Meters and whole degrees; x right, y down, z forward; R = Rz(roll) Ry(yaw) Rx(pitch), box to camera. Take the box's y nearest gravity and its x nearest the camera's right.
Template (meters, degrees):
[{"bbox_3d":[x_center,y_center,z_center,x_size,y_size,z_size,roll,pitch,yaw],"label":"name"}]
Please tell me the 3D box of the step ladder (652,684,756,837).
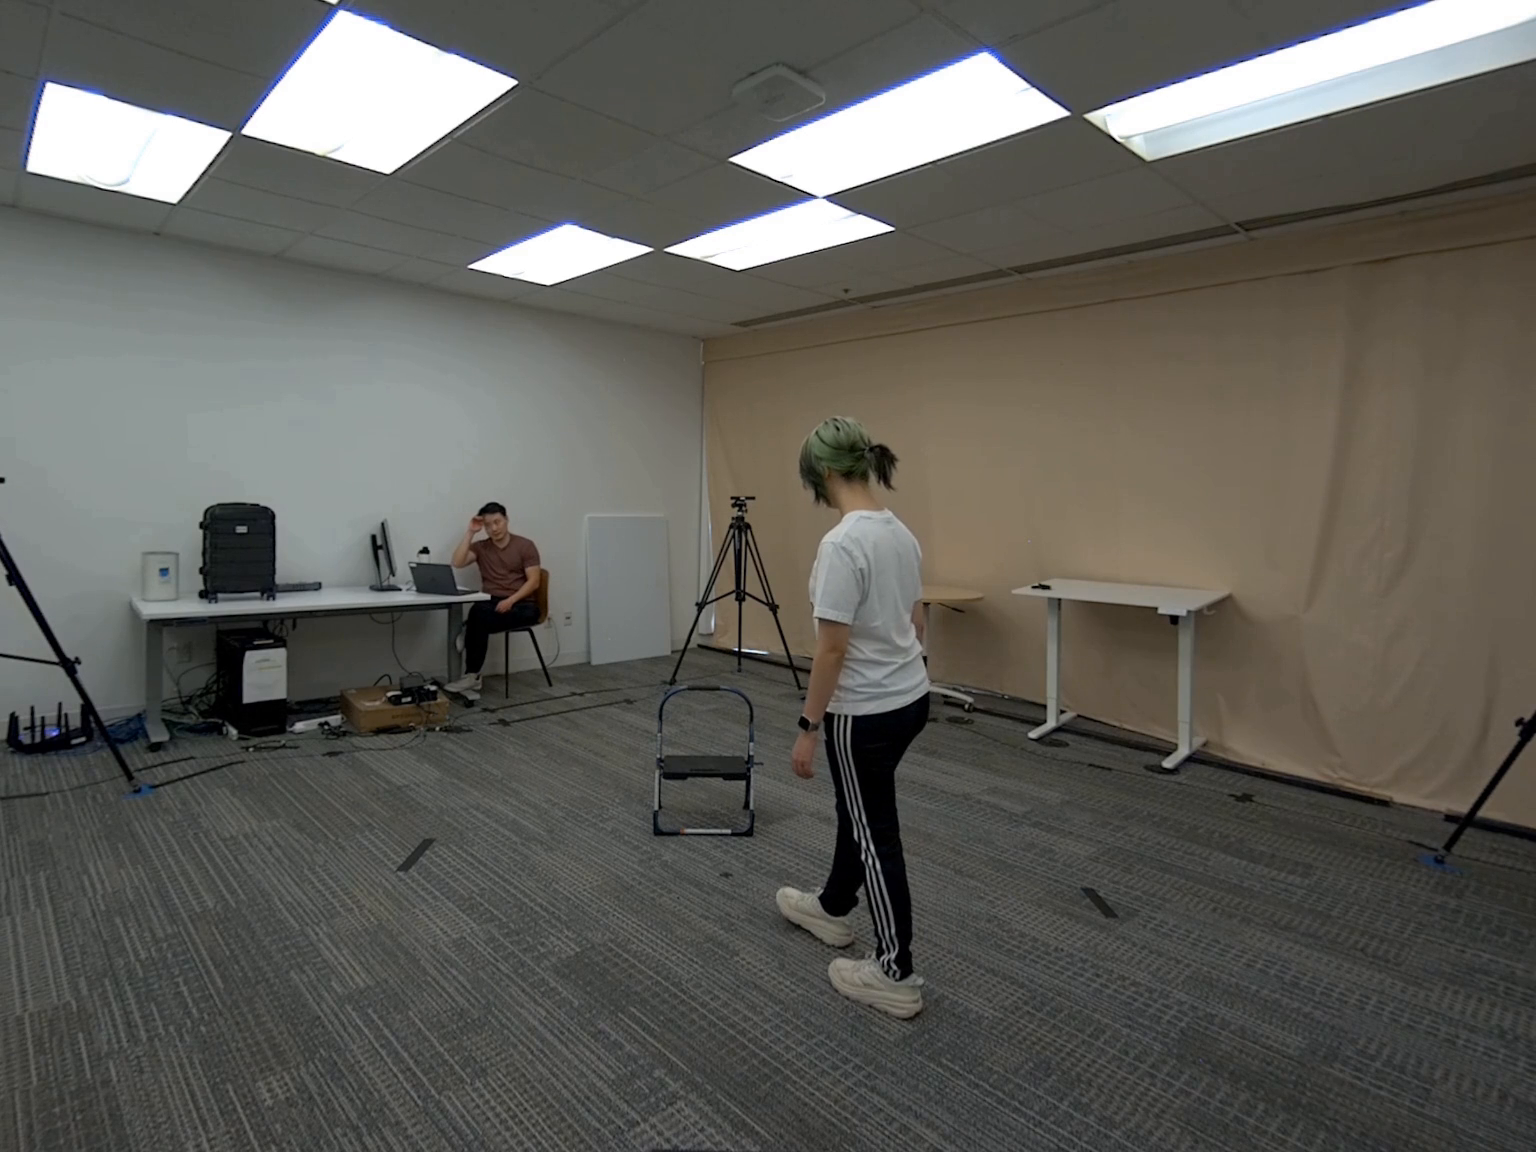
[{"bbox_3d":[-0.280,0.756,3.615,0.429,0.605,0.351,1,3,-5],"label":"step ladder"}]
